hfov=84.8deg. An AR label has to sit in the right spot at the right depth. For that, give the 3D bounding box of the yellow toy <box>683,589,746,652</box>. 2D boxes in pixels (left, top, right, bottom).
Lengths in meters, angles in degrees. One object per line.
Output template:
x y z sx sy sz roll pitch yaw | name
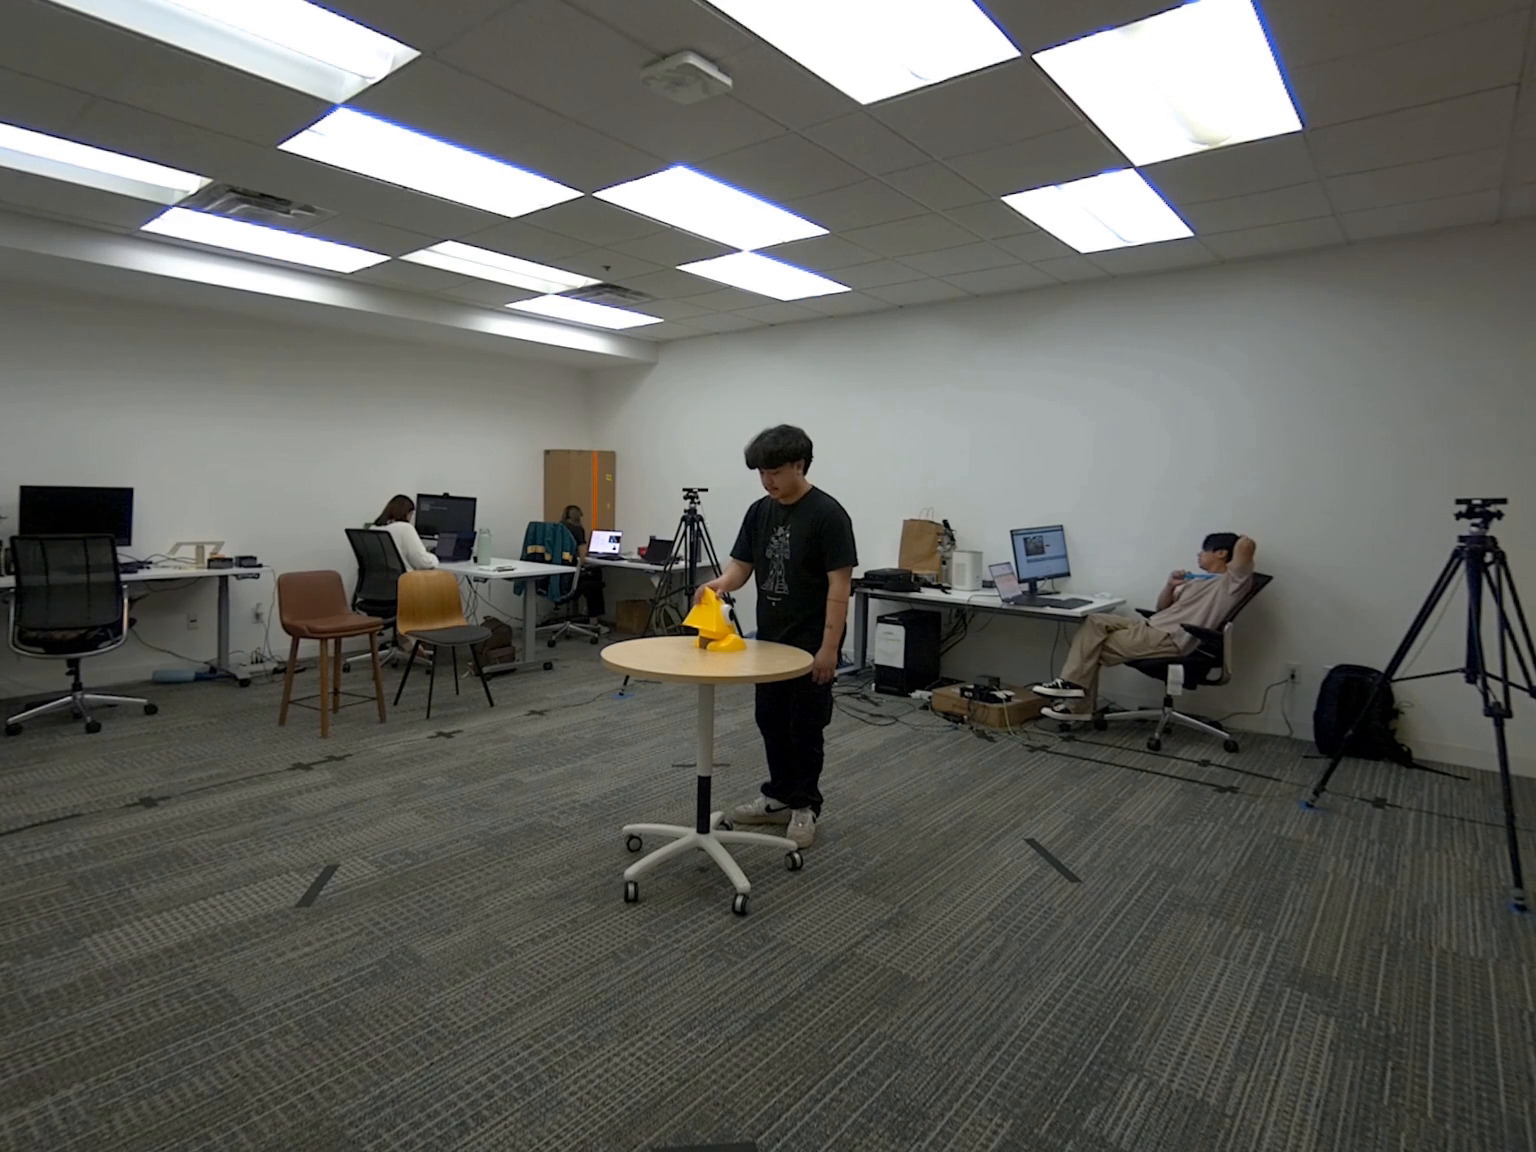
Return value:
-0.199 0.152 3.221 0.187 0.230 0.211 -2 4 -39 | yellow toy
